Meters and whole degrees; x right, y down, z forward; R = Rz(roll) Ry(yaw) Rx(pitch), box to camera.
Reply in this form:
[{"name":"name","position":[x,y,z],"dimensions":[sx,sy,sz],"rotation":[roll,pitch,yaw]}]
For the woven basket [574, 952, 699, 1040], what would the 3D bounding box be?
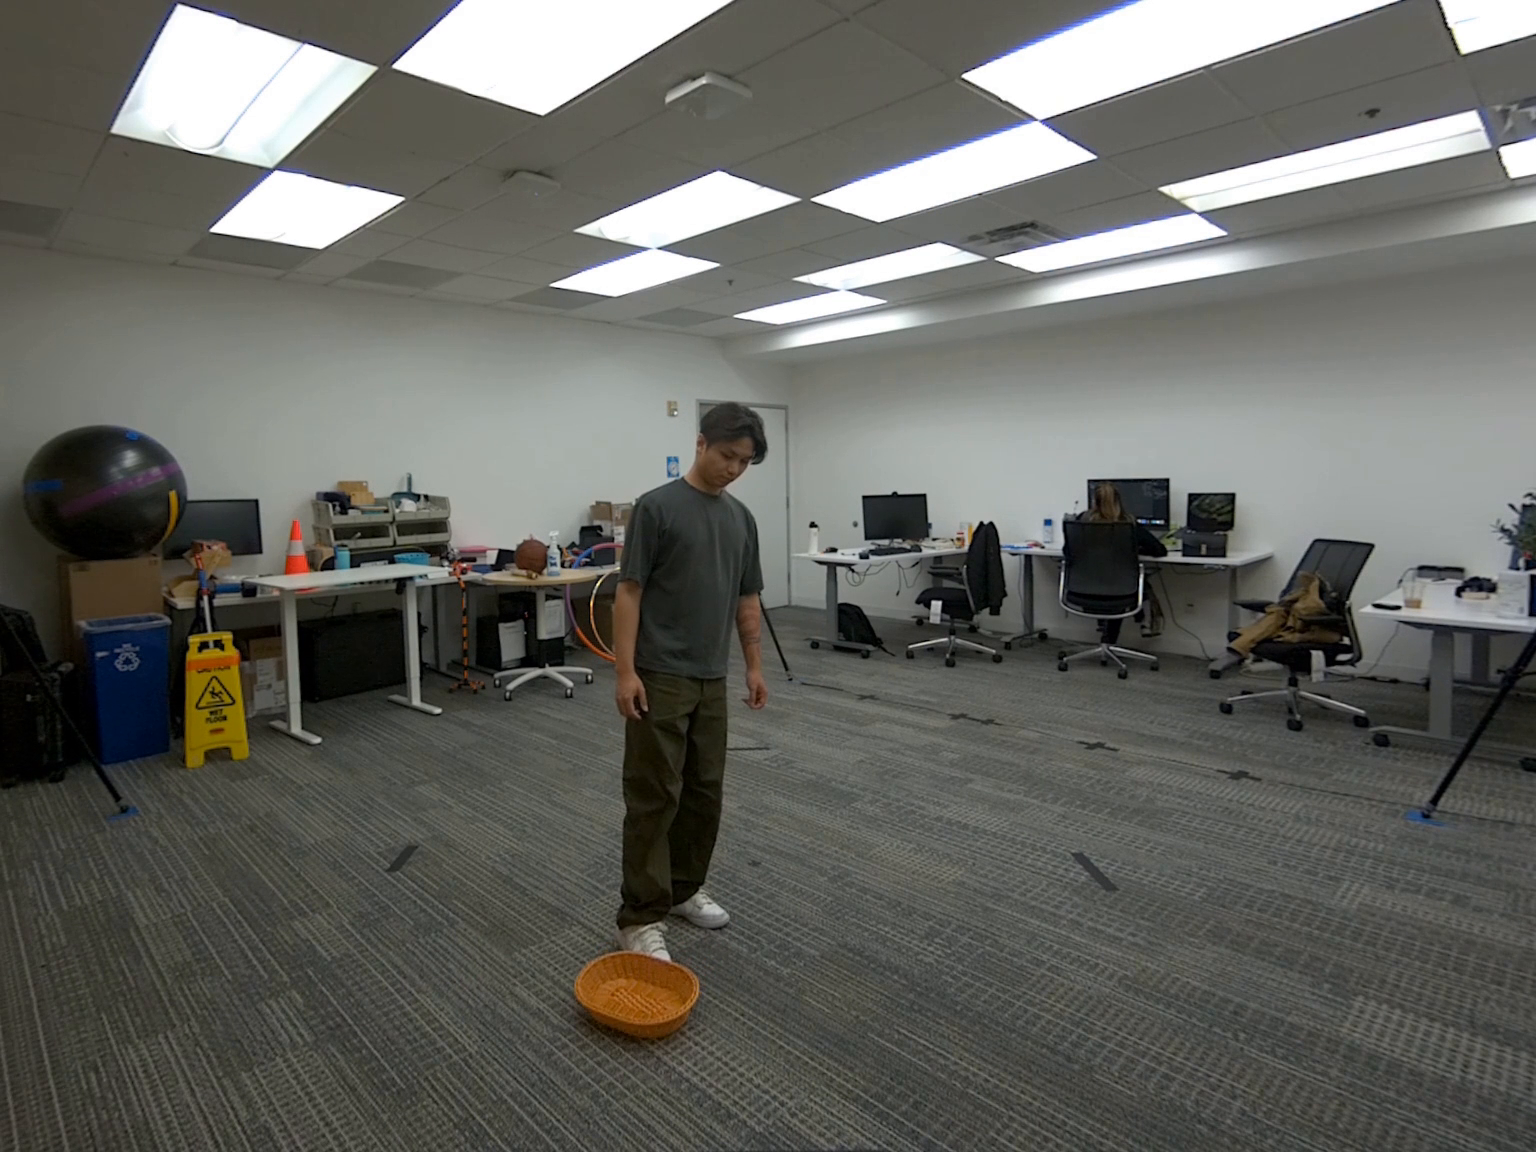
[{"name":"woven basket","position":[-0.344,1.114,2.253],"dimensions":[0.360,0.073,0.247],"rotation":[3,11,32]}]
